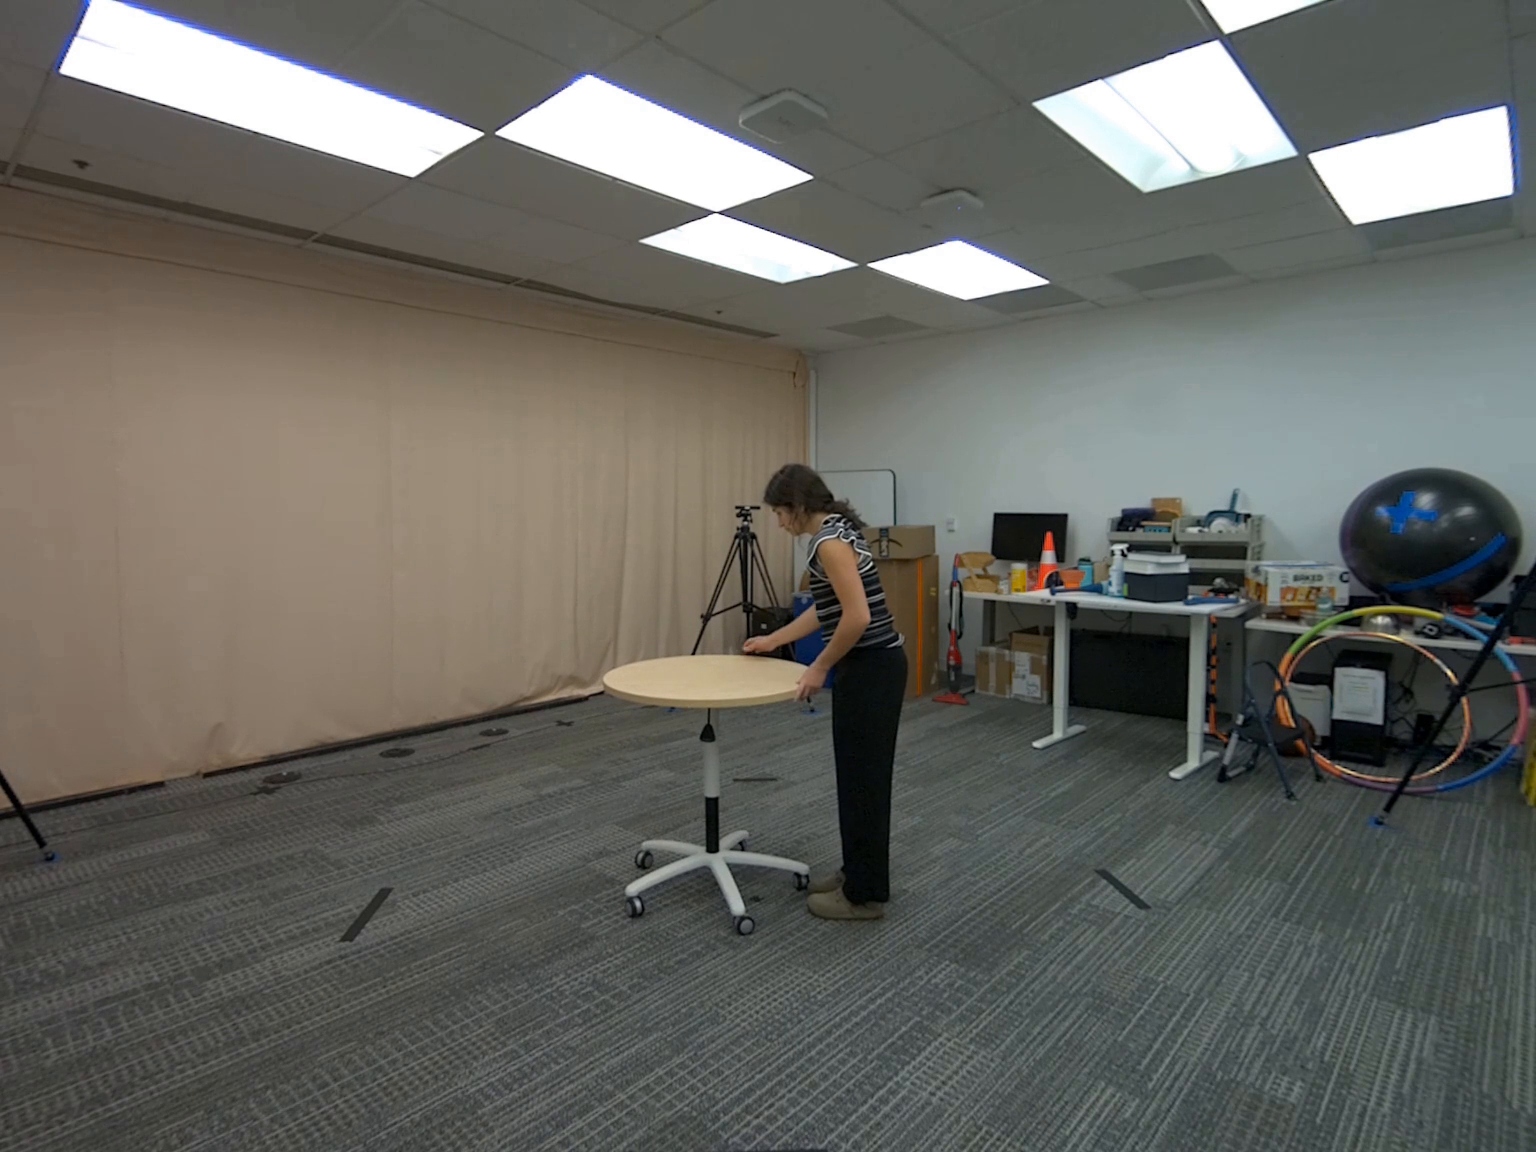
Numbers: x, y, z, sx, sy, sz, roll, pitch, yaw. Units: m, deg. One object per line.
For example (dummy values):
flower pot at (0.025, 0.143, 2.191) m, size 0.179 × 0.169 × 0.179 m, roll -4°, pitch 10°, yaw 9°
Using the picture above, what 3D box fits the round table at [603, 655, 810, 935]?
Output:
round table at (-0.217, 0.746, 3.058) m, size 0.784 × 0.784 × 0.788 m, roll 0°, pitch 4°, yaw -2°
